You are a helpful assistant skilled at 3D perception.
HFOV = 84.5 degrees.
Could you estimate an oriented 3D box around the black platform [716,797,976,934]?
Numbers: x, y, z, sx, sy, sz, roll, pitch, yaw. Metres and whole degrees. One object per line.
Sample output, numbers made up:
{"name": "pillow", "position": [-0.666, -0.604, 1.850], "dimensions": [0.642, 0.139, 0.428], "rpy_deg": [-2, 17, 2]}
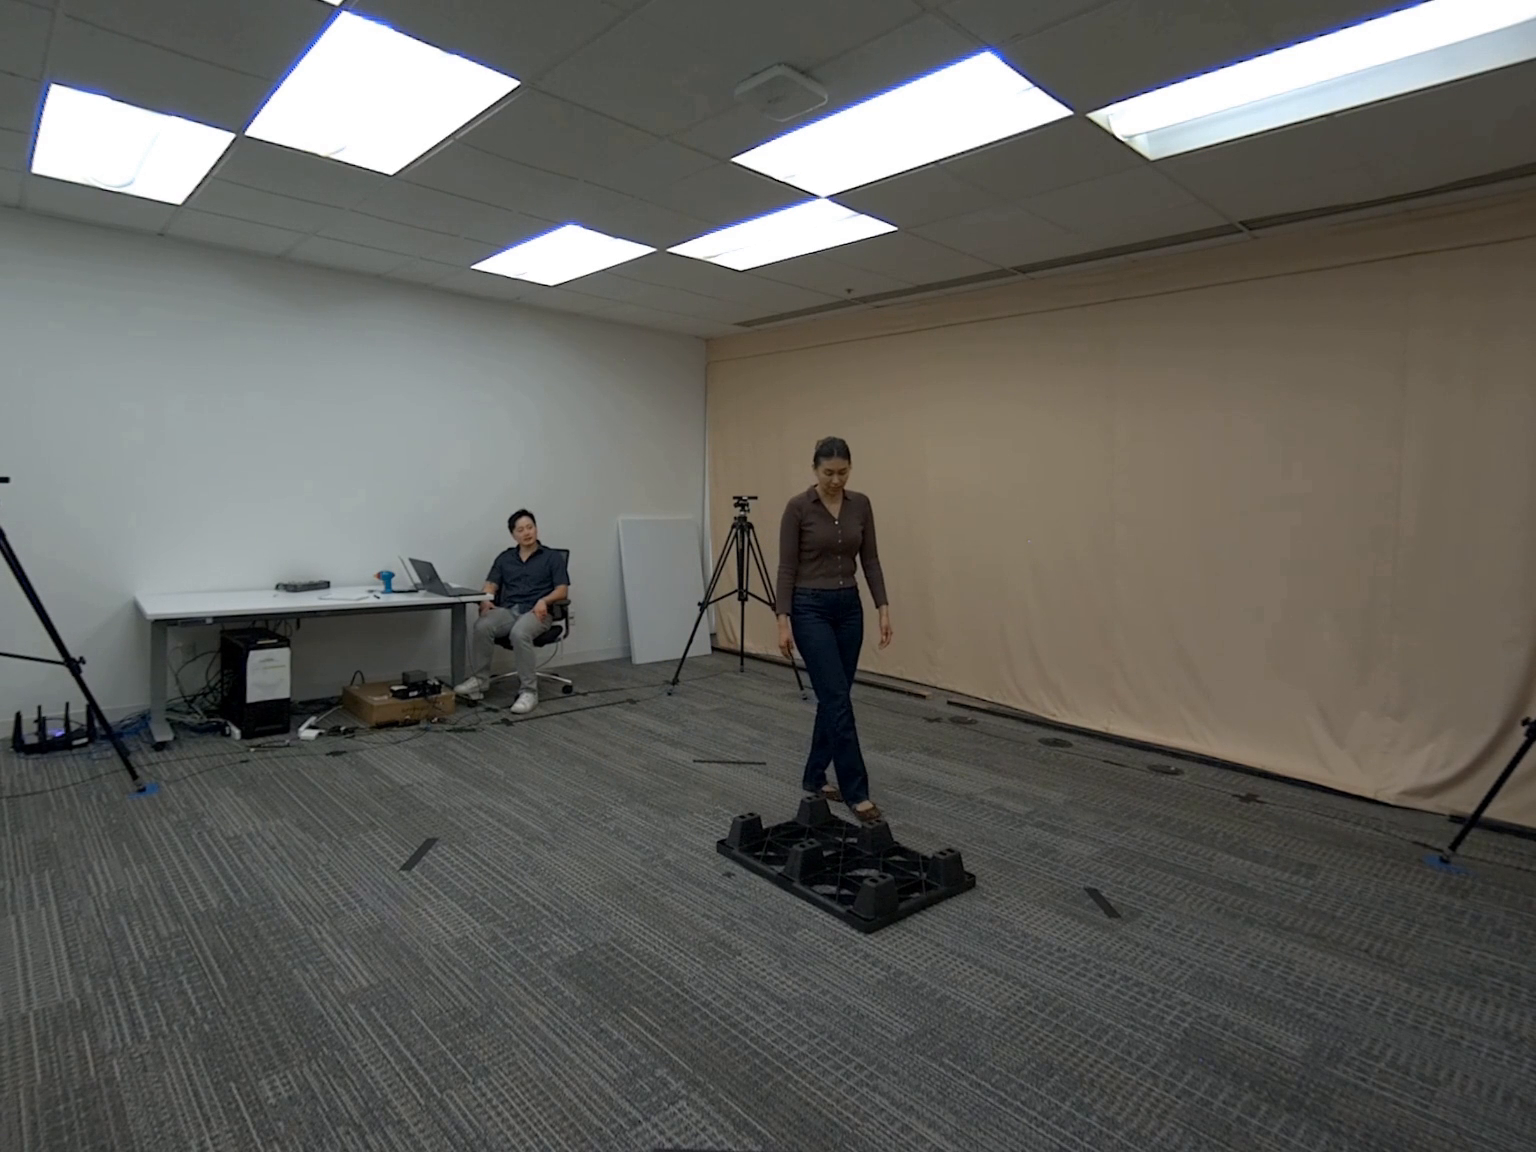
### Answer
{"name": "black platform", "position": [0.266, 1.039, 3.183], "dimensions": [0.591, 0.143, 0.826], "rpy_deg": [-2, 6, -40]}
